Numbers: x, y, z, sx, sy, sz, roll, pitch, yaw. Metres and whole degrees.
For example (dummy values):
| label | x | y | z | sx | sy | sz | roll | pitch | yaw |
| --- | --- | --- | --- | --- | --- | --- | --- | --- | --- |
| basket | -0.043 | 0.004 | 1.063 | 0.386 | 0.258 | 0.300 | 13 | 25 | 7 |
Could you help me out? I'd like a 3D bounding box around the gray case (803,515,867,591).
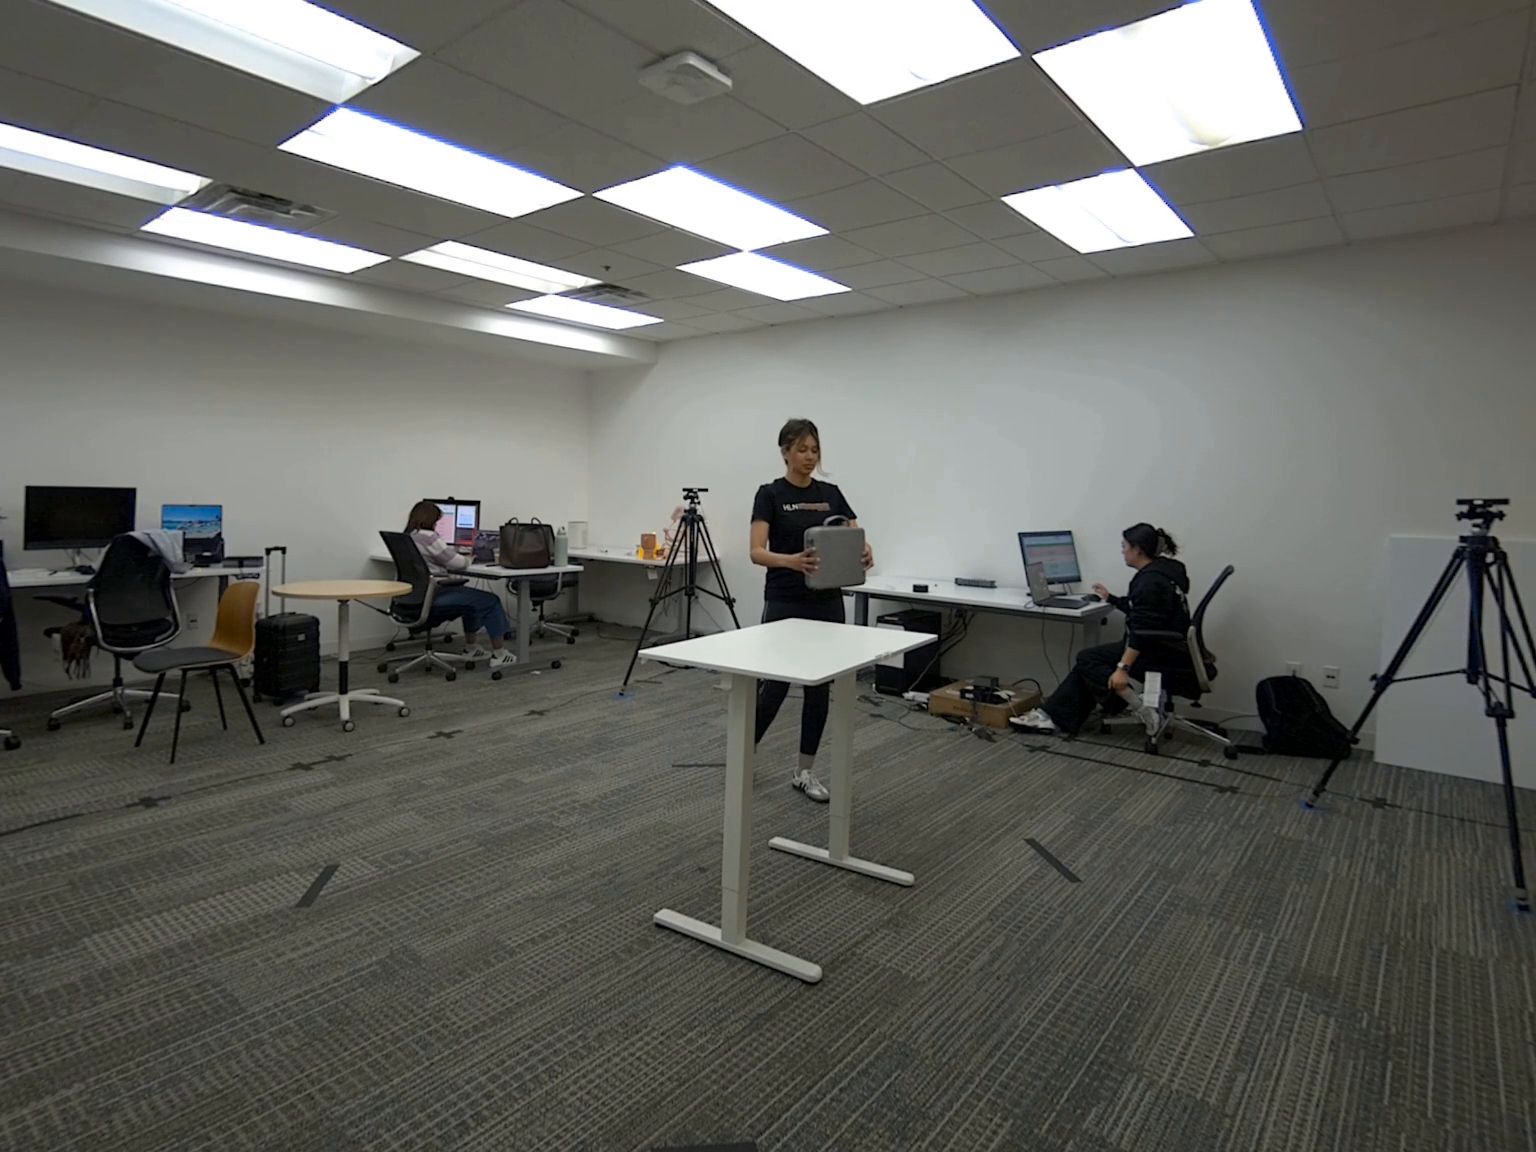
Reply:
| label | x | y | z | sx | sy | sz | roll | pitch | yaw |
| --- | --- | --- | --- | --- | --- | --- | --- | --- | --- |
| gray case | 0.282 | -0.087 | 3.532 | 0.251 | 0.259 | 0.107 | -5 | 5 | -26 |
